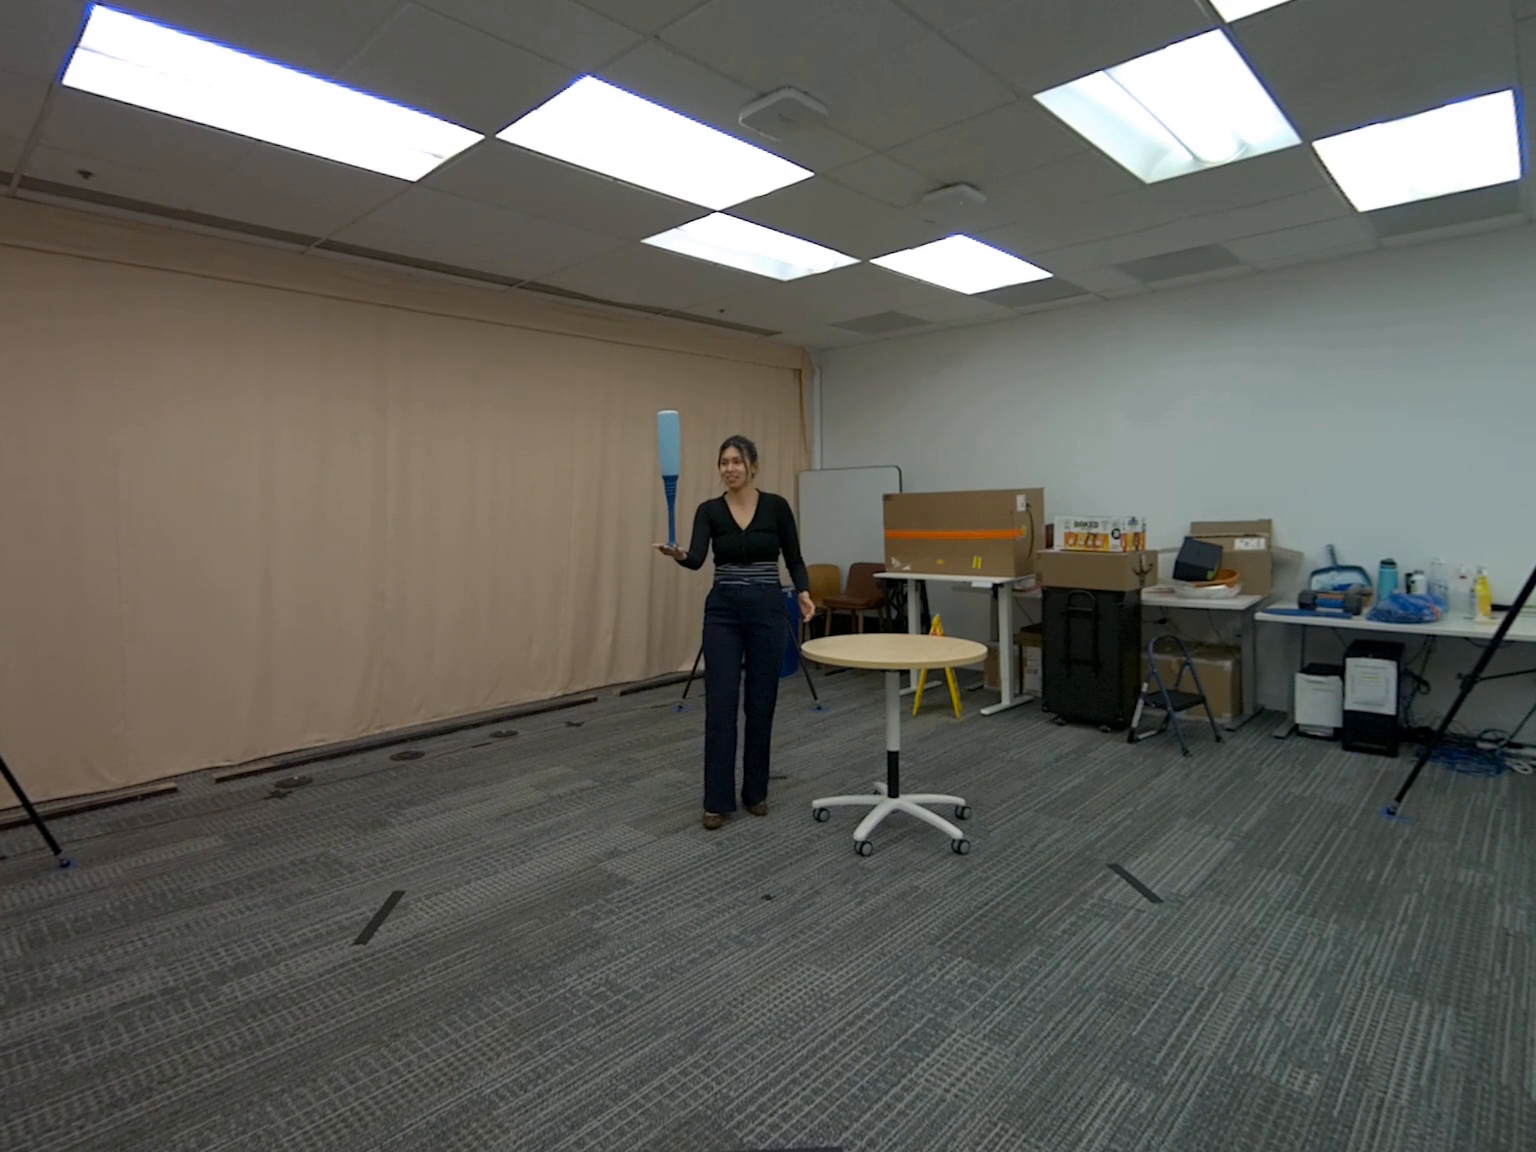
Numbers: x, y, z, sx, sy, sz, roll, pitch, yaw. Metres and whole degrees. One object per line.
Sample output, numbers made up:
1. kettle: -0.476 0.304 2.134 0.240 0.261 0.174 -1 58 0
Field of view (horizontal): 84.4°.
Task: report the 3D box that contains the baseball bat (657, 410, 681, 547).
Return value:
1. baseball bat: -0.383 -0.377 3.328 0.089 0.541 0.089 -2 5 -2
